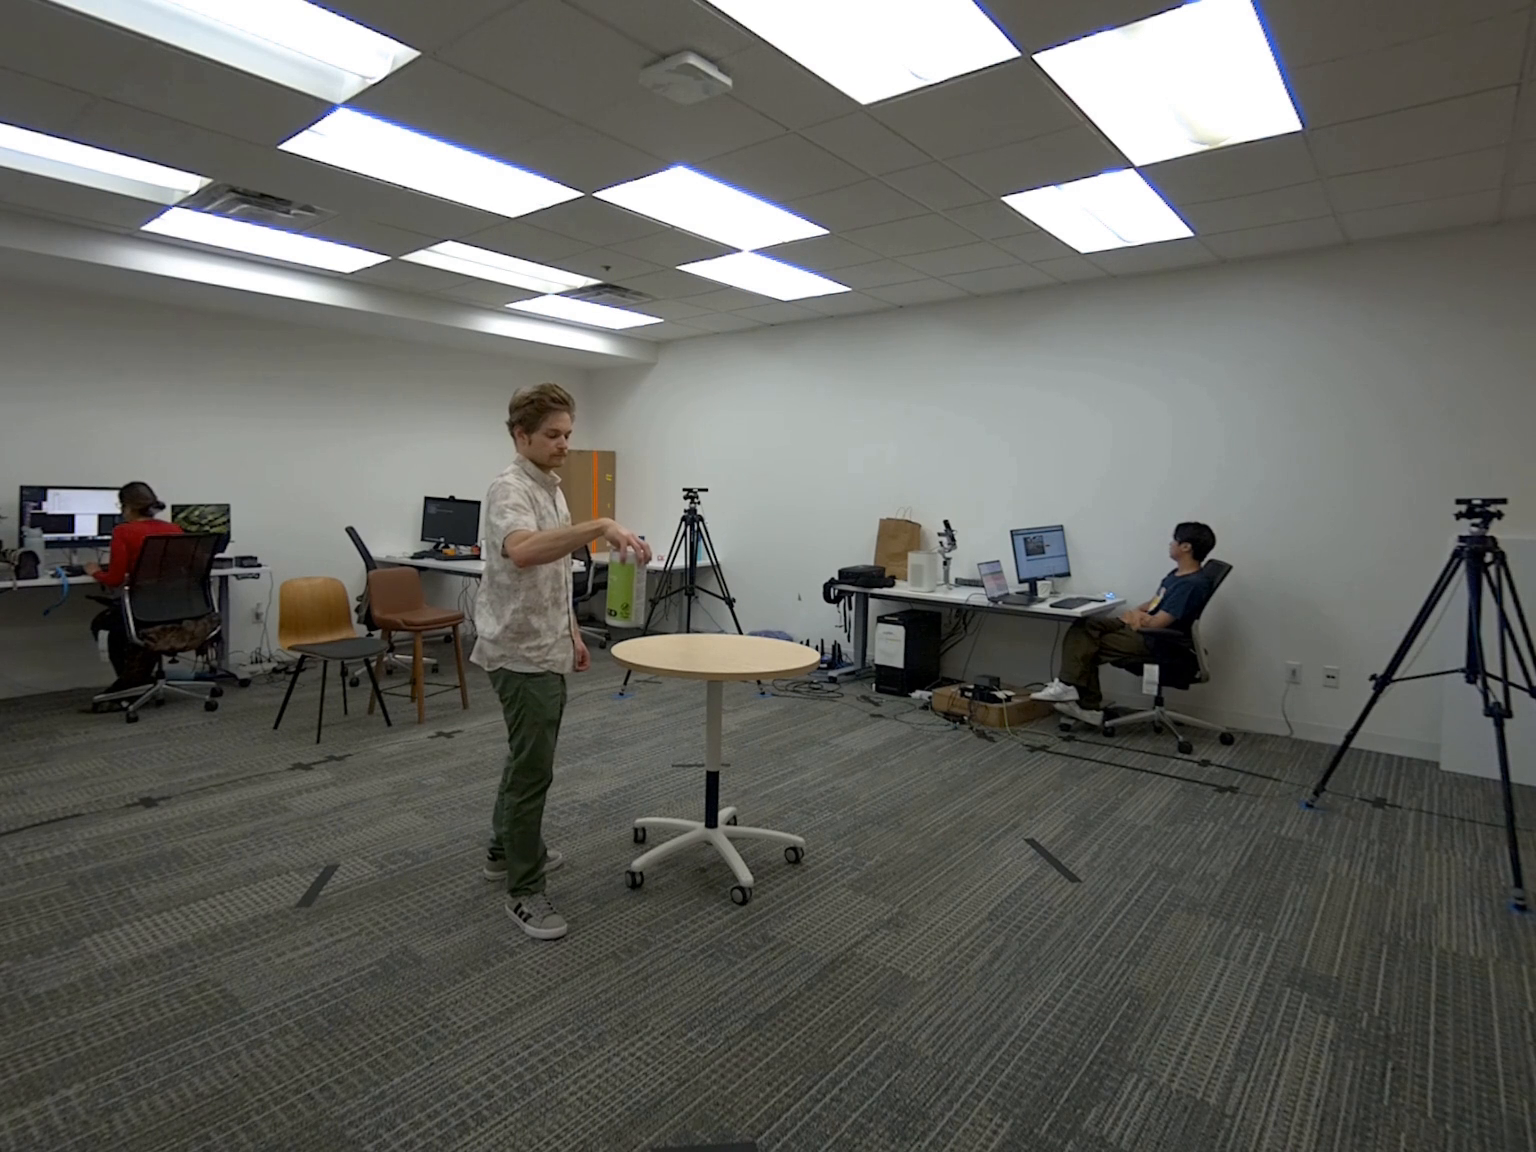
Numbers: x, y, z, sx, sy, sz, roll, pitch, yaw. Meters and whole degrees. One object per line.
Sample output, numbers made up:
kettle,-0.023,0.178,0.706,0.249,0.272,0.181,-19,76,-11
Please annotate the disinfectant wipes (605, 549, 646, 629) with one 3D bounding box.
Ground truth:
disinfectant wipes,-0.423,0.034,2.446,0.117,0.216,0.118,5,5,-2
